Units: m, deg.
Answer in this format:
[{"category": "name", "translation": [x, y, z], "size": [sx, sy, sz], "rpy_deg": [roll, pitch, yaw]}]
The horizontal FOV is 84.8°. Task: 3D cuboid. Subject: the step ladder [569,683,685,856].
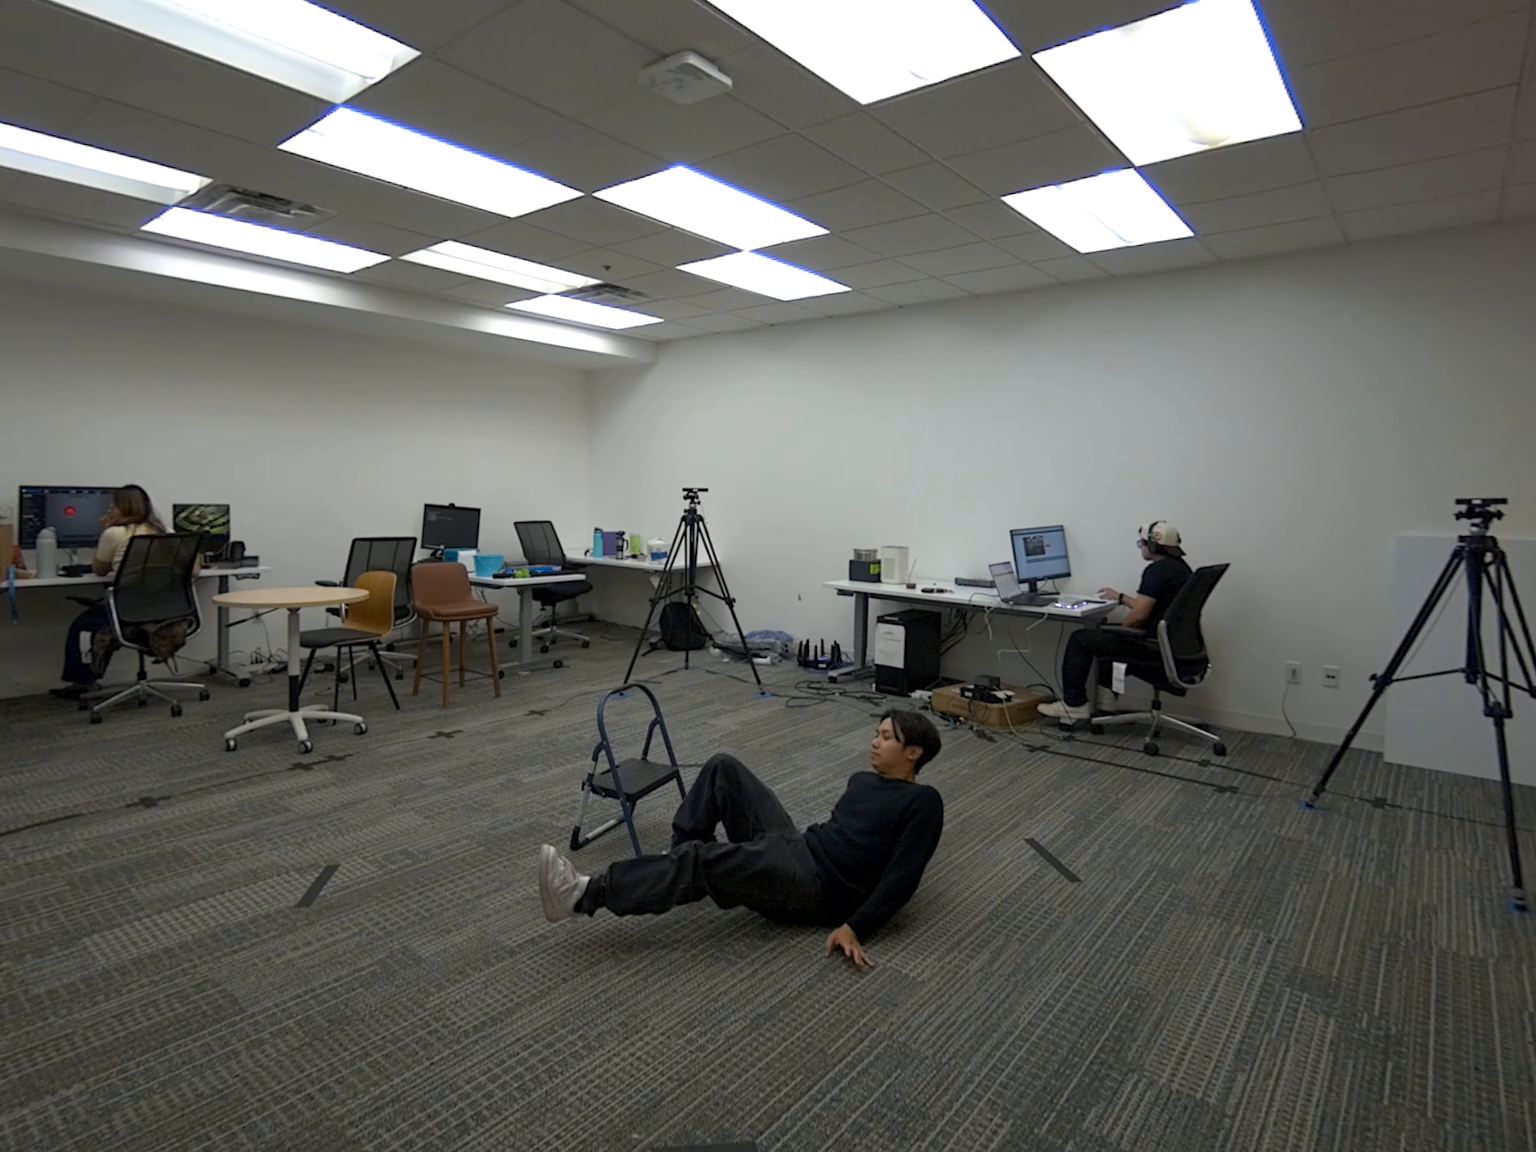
[{"category": "step ladder", "translation": [-0.526, 0.738, 3.343], "size": [0.358, 0.604, 0.421], "rpy_deg": [3, 4, 25]}]
